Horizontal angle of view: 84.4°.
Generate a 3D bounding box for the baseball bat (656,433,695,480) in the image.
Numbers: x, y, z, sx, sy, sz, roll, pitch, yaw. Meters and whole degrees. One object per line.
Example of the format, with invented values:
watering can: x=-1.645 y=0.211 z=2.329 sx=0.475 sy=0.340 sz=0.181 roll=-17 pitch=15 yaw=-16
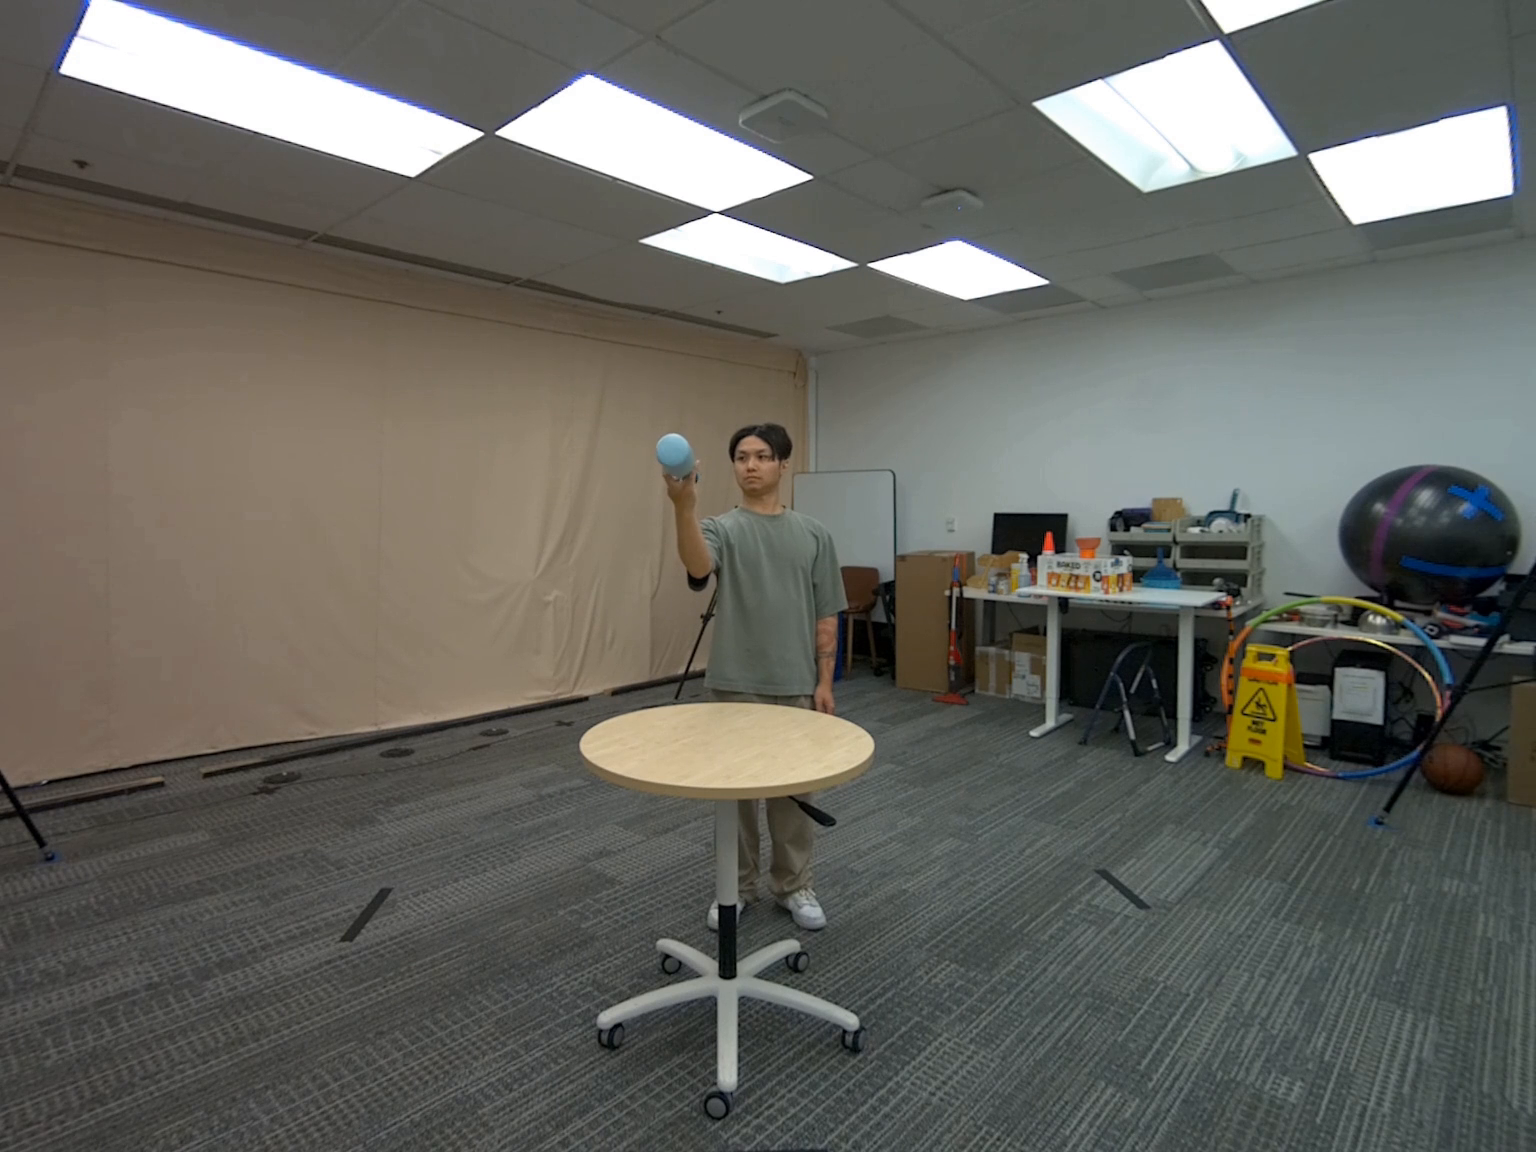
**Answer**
baseball bat: x=-0.238 y=-0.296 z=2.328 sx=0.089 sy=0.089 sz=0.541 roll=0 pitch=-3 yaw=-2
